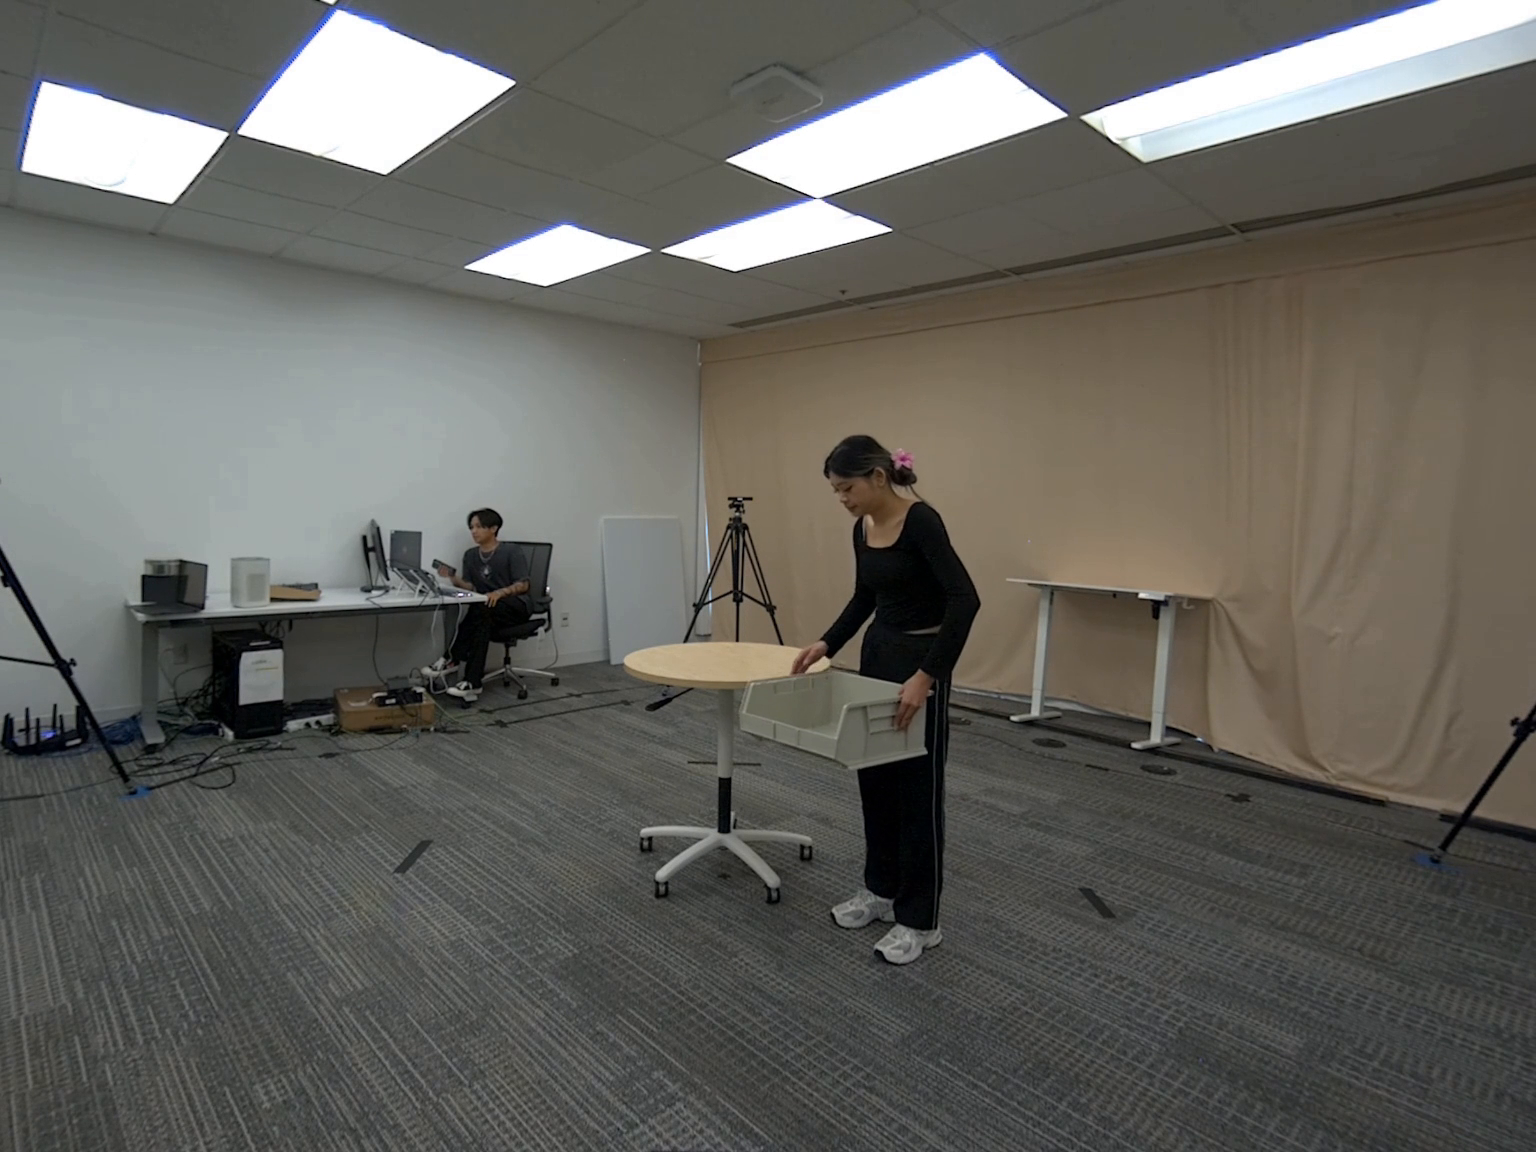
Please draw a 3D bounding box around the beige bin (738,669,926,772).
[{"bbox_3d":[0.179,0.411,2.450,0.368,0.189,0.432,0,2,-39],"label":"beige bin"}]
